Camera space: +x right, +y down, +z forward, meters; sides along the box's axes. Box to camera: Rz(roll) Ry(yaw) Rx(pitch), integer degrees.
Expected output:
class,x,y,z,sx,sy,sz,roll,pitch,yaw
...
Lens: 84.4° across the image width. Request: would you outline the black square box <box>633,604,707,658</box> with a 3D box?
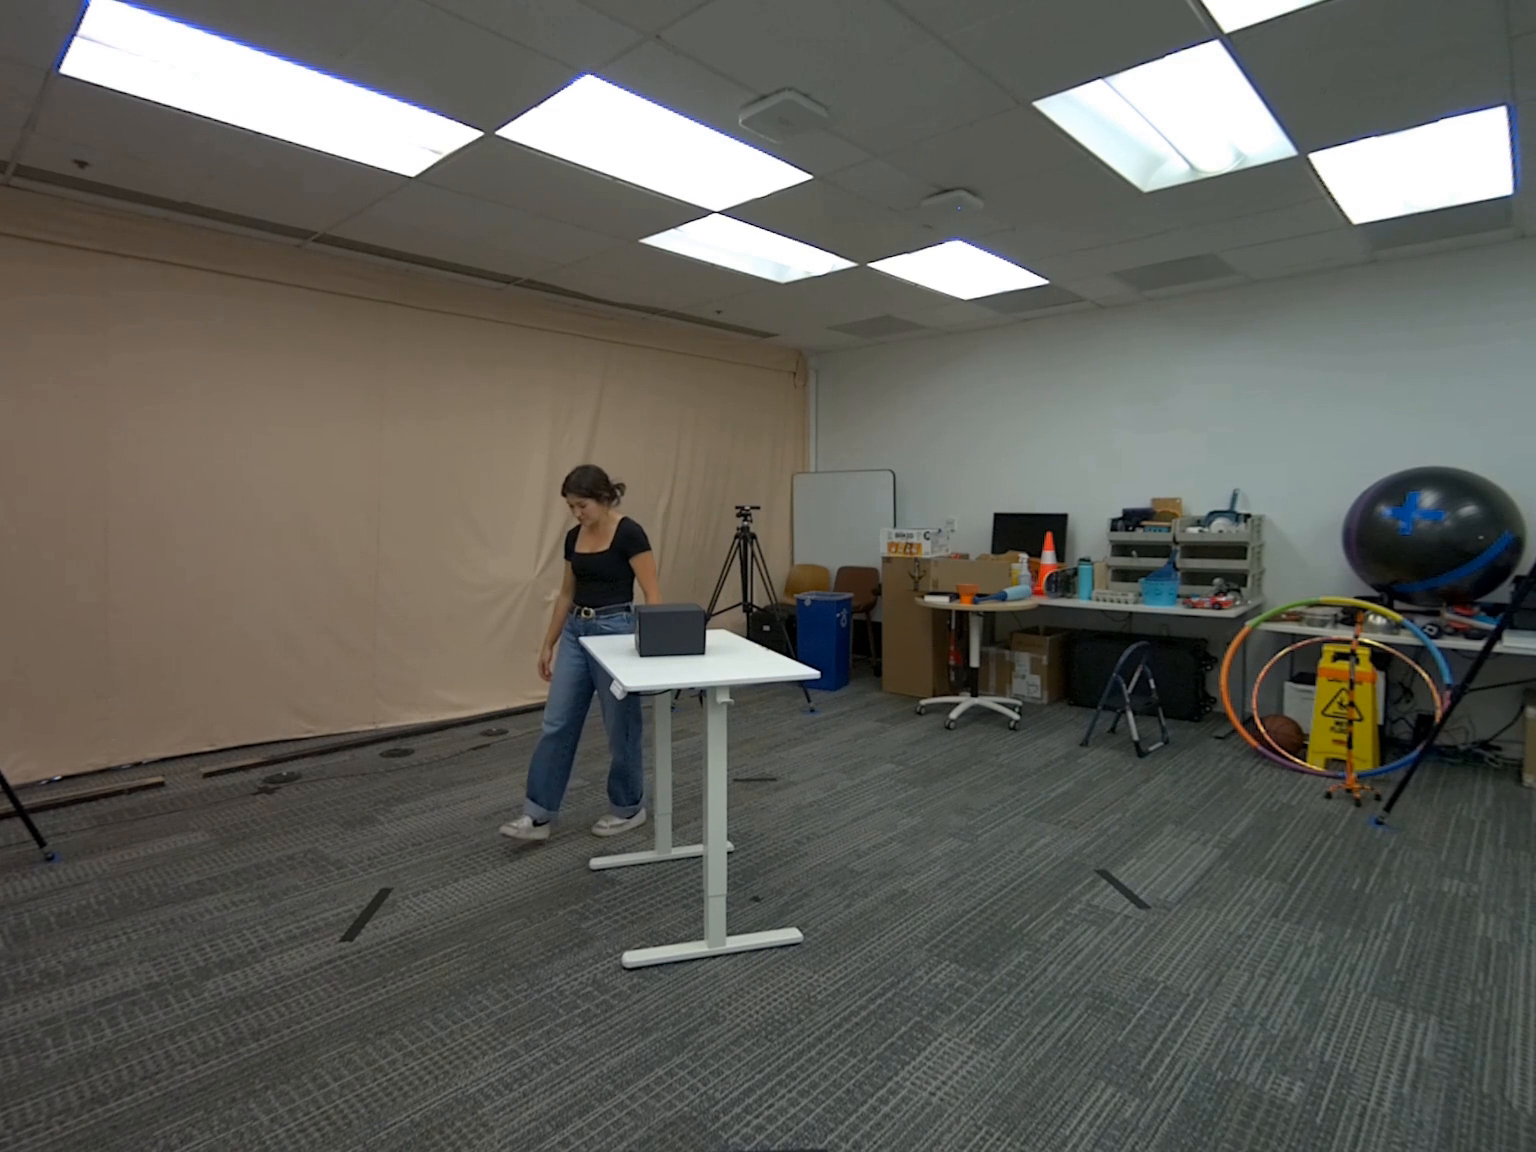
class,x,y,z,sx,sy,sz,roll,pitch,yaw
black square box,-0.346,0.181,2.968,0.226,0.155,0.219,-1,5,-9
